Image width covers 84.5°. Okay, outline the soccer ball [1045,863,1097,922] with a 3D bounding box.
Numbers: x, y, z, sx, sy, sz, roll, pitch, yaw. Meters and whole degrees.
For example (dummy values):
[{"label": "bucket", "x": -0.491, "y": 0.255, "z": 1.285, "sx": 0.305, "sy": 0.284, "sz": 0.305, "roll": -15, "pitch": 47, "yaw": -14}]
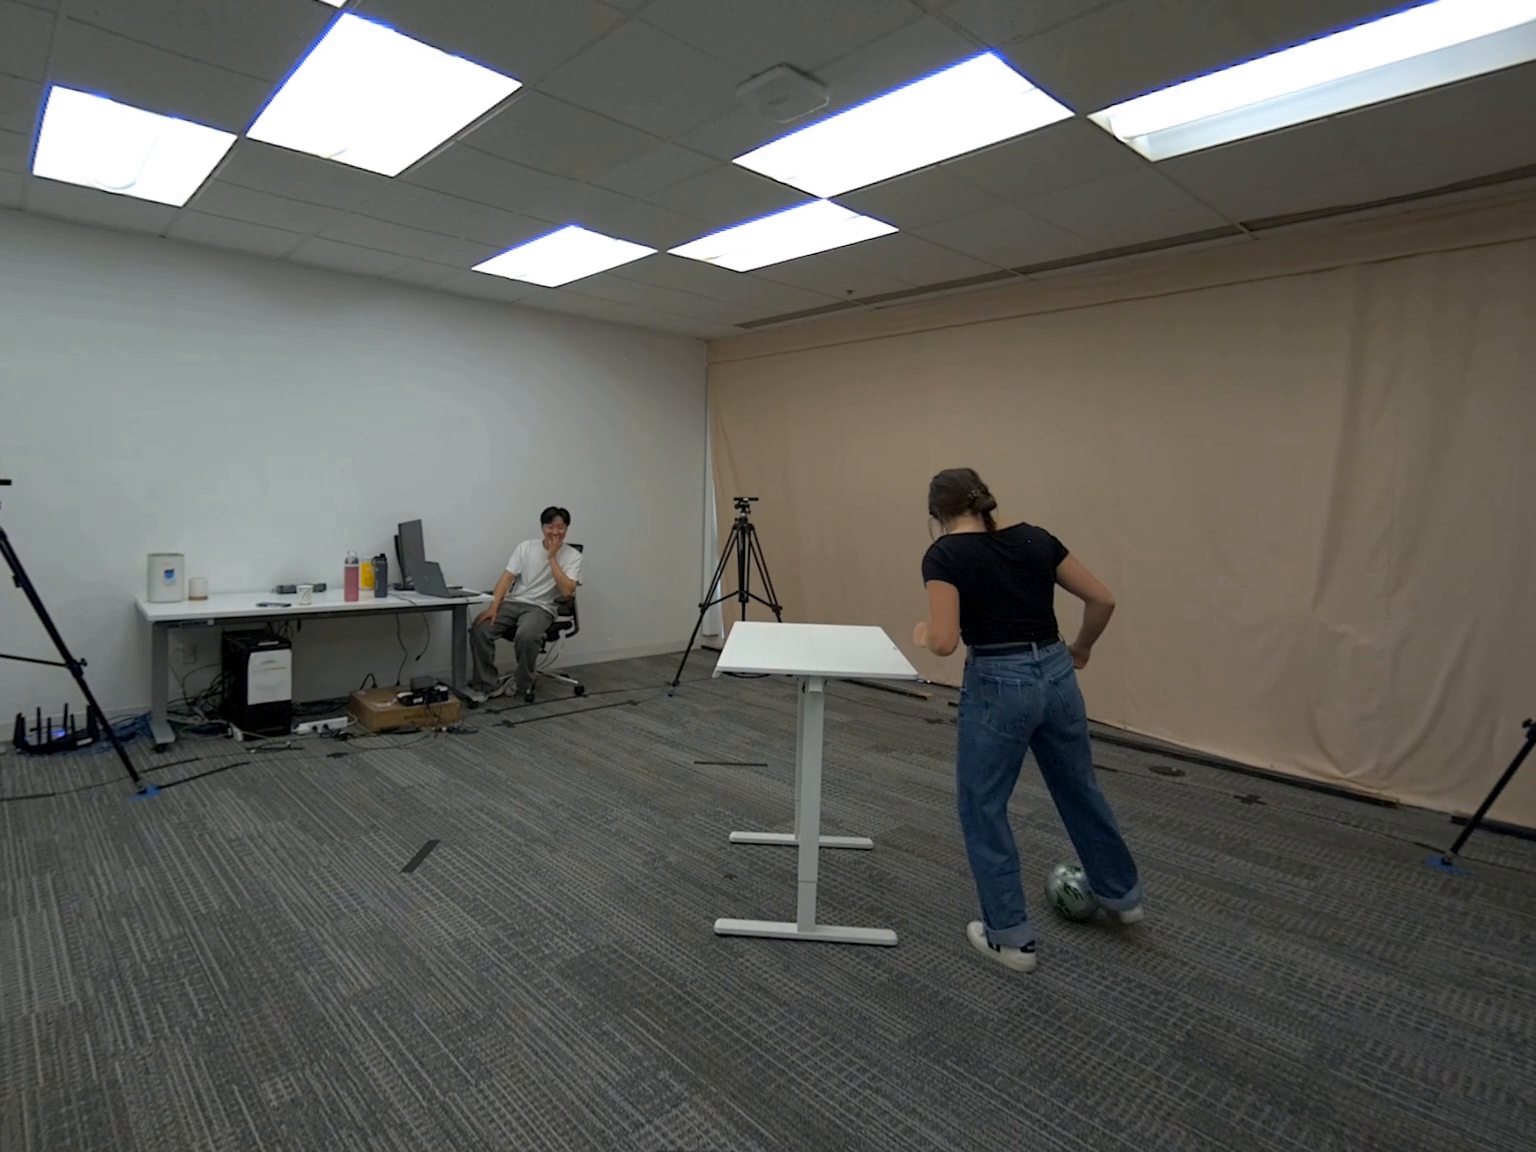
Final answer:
[{"label": "soccer ball", "x": 1.022, "y": 1.073, "z": 2.864, "sx": 0.187, "sy": 0.187, "sz": 0.188, "roll": 1, "pitch": 4, "yaw": -1}]
